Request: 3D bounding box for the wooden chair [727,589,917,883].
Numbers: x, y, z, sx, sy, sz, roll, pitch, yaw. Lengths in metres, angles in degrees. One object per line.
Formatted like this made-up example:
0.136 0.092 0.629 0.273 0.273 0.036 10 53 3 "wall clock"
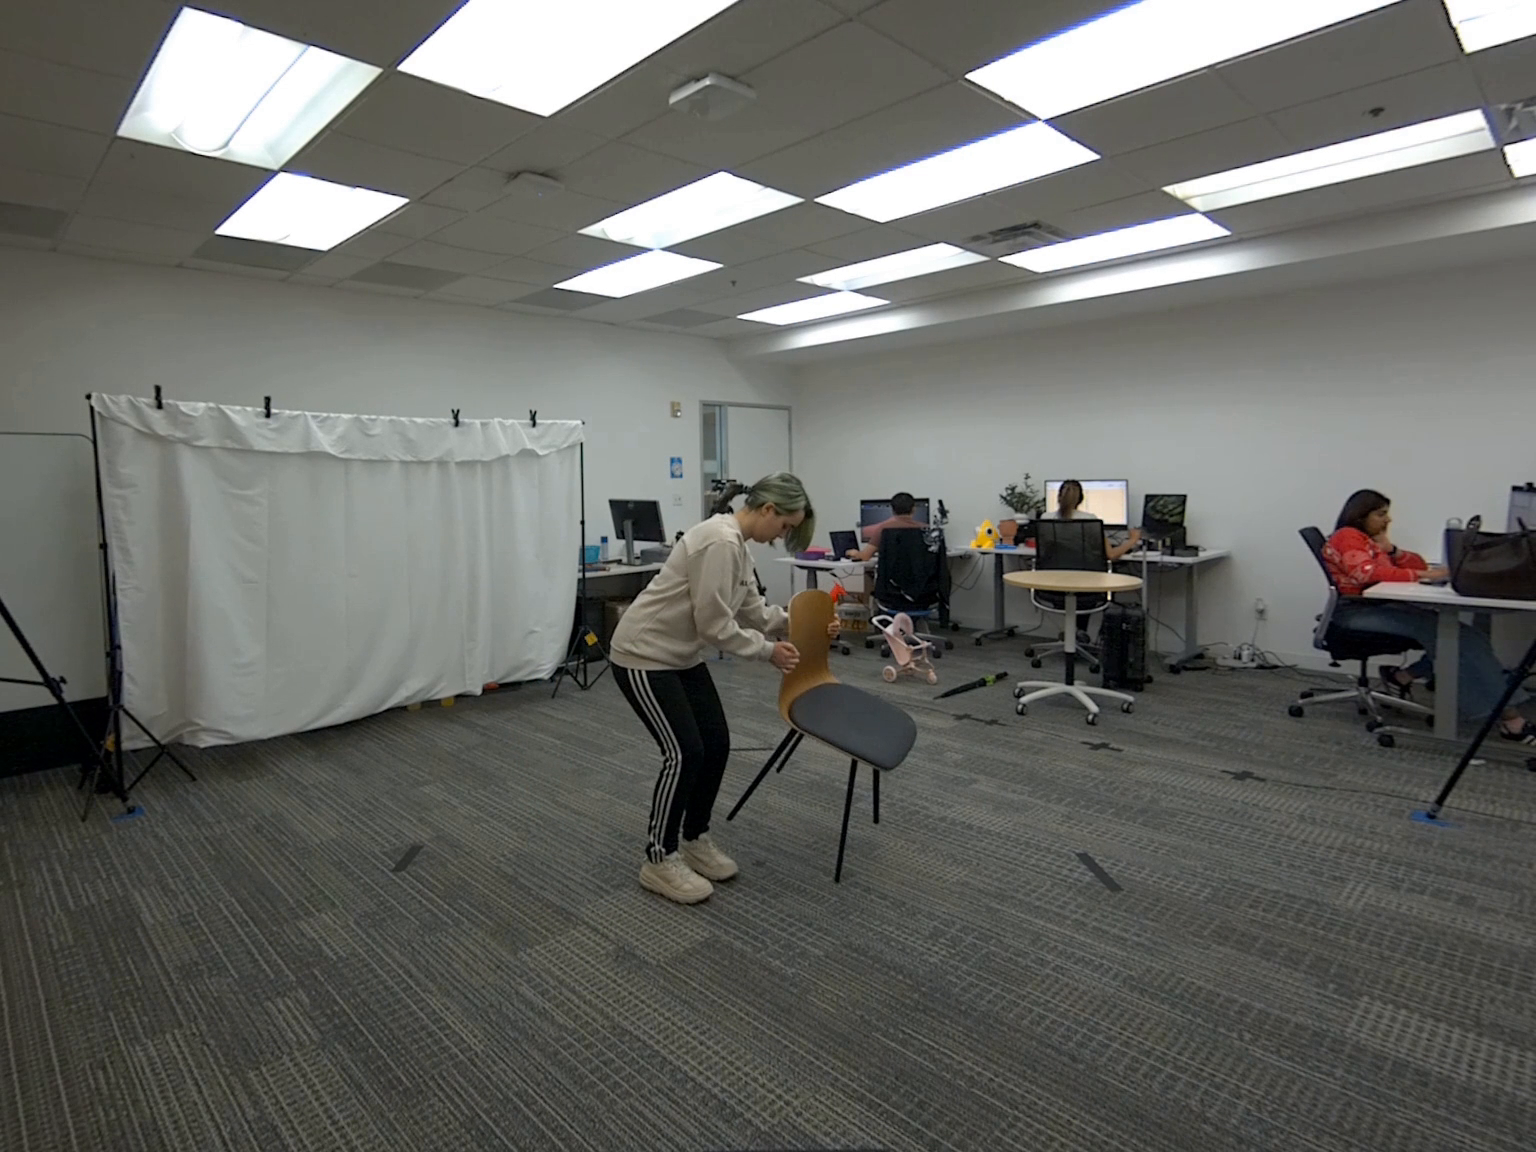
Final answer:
0.257 0.547 3.098 0.537 0.868 0.471 18 17 23 "wooden chair"
